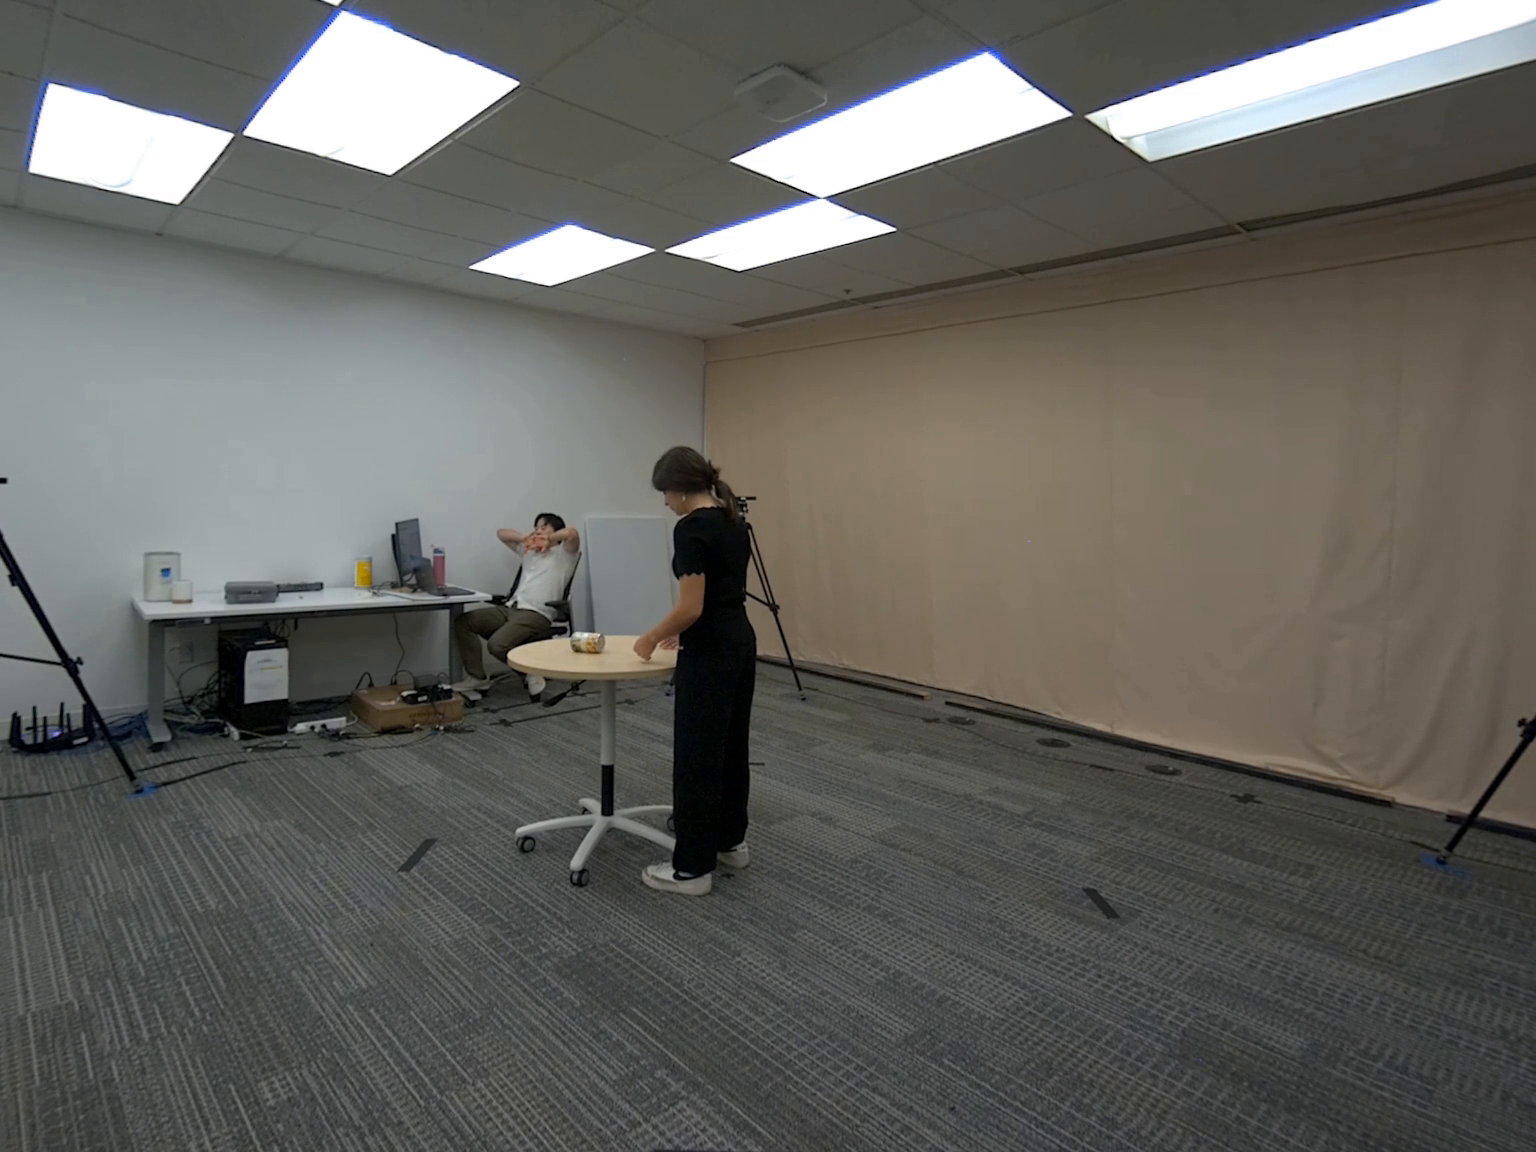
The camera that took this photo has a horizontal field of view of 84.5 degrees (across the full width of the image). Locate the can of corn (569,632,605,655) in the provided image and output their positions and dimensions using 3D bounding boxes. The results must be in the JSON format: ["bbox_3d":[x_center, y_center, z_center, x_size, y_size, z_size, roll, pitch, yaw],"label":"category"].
[{"bbox_3d":[-0.700,0.255,3.257,0.112,0.074,0.073,6,5,14],"label":"can of corn"}]
